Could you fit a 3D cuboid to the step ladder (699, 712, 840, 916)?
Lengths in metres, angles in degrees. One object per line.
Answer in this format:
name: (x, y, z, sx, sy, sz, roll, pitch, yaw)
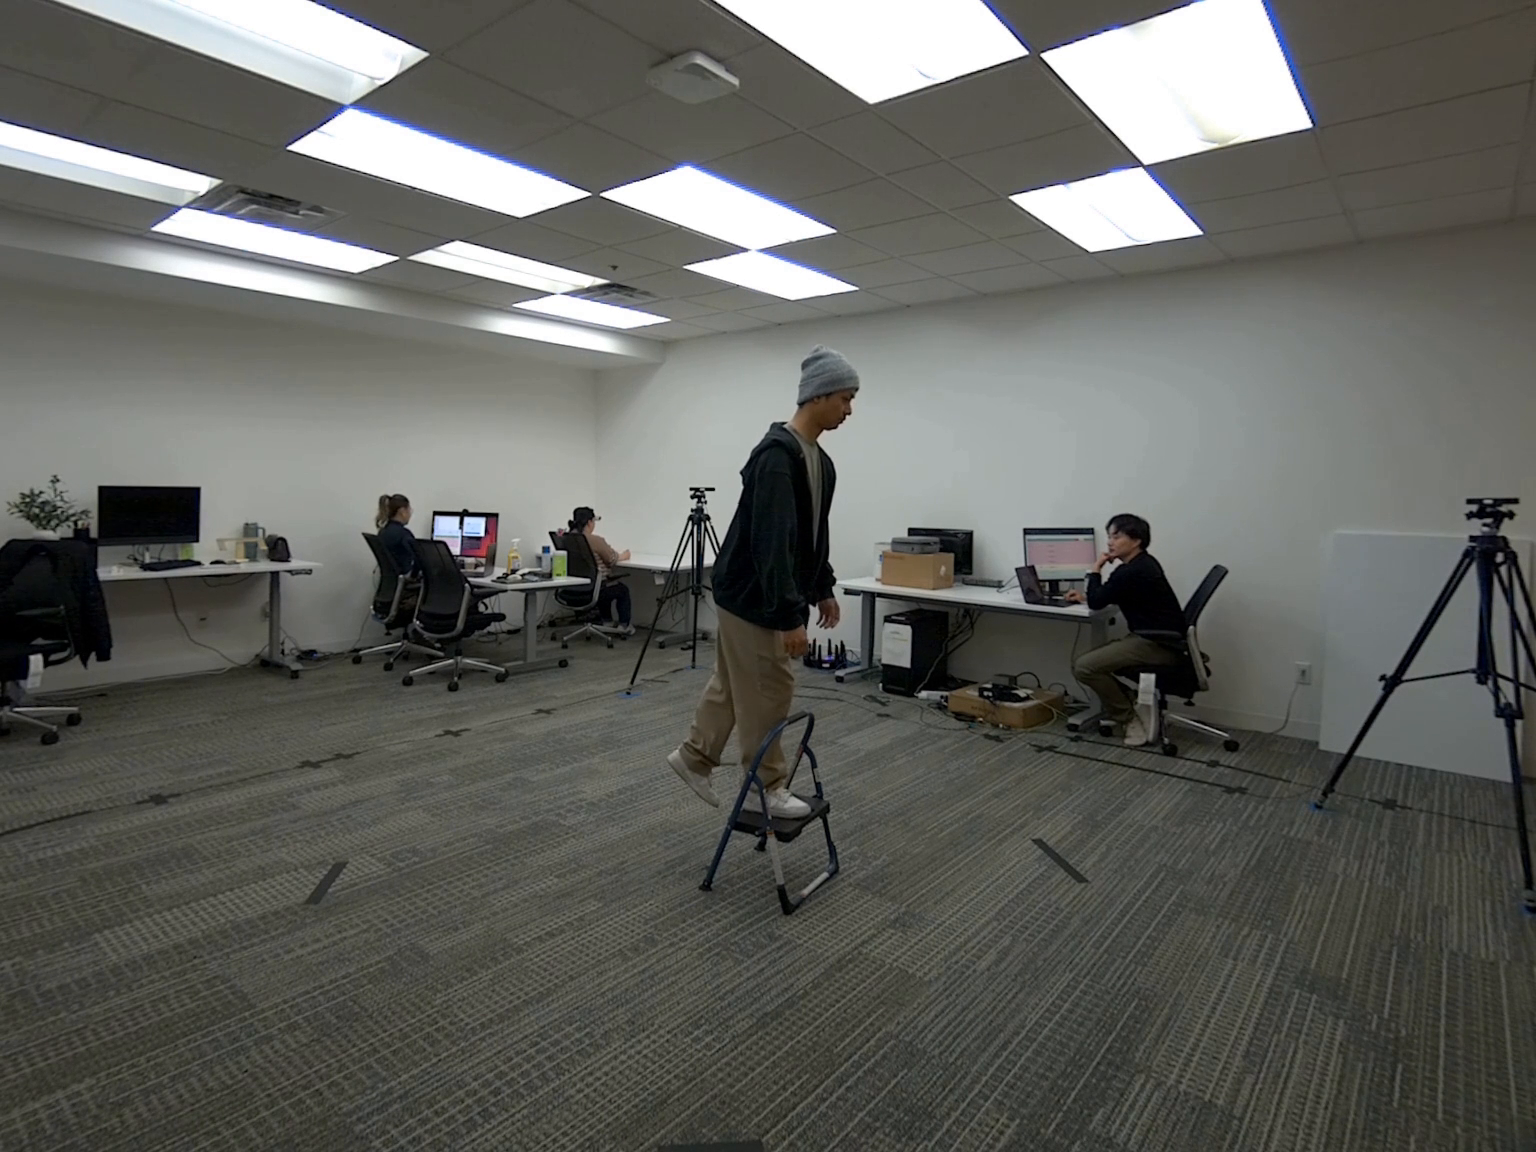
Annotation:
step ladder: (0.016, 0.779, 3.017, 0.359, 0.604, 0.420, 3, 4, 29)
